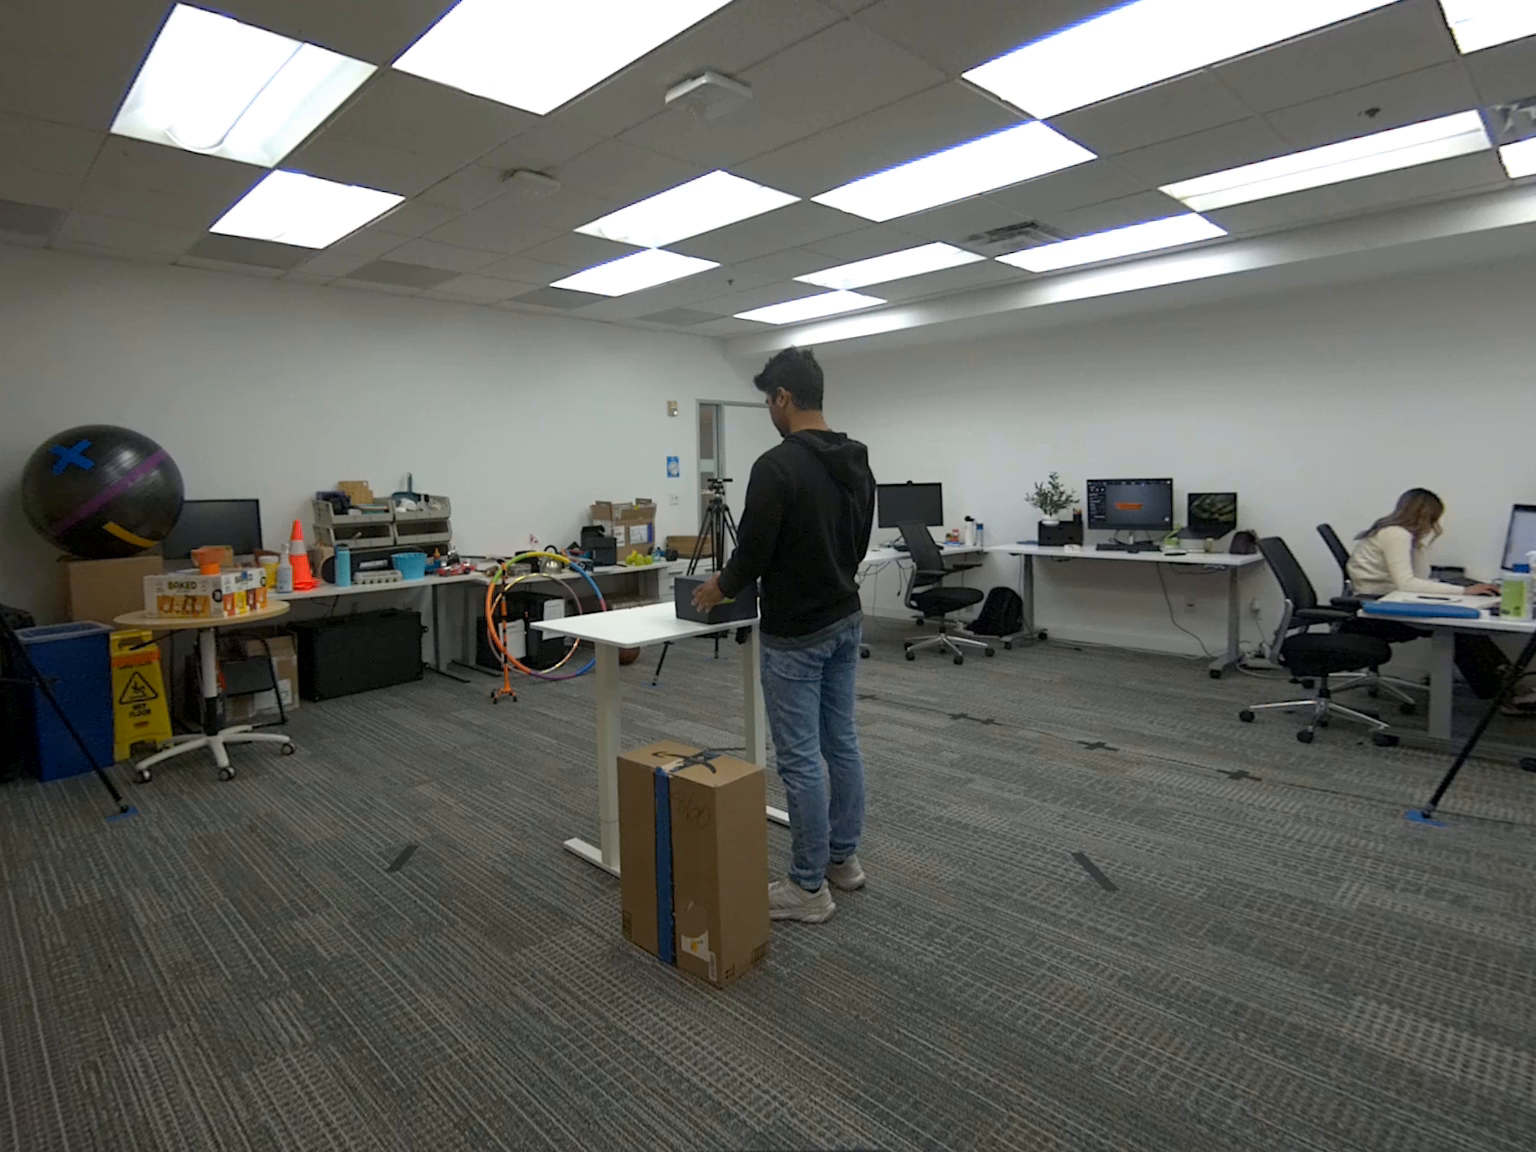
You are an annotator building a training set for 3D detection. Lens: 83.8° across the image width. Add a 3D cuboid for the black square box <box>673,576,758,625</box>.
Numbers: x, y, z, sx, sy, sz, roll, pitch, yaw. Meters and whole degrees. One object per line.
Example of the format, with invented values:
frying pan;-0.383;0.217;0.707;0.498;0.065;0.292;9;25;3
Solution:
black square box;-0.197;0.077;3.171;0.222;0.155;0.223;-6;6;-38
